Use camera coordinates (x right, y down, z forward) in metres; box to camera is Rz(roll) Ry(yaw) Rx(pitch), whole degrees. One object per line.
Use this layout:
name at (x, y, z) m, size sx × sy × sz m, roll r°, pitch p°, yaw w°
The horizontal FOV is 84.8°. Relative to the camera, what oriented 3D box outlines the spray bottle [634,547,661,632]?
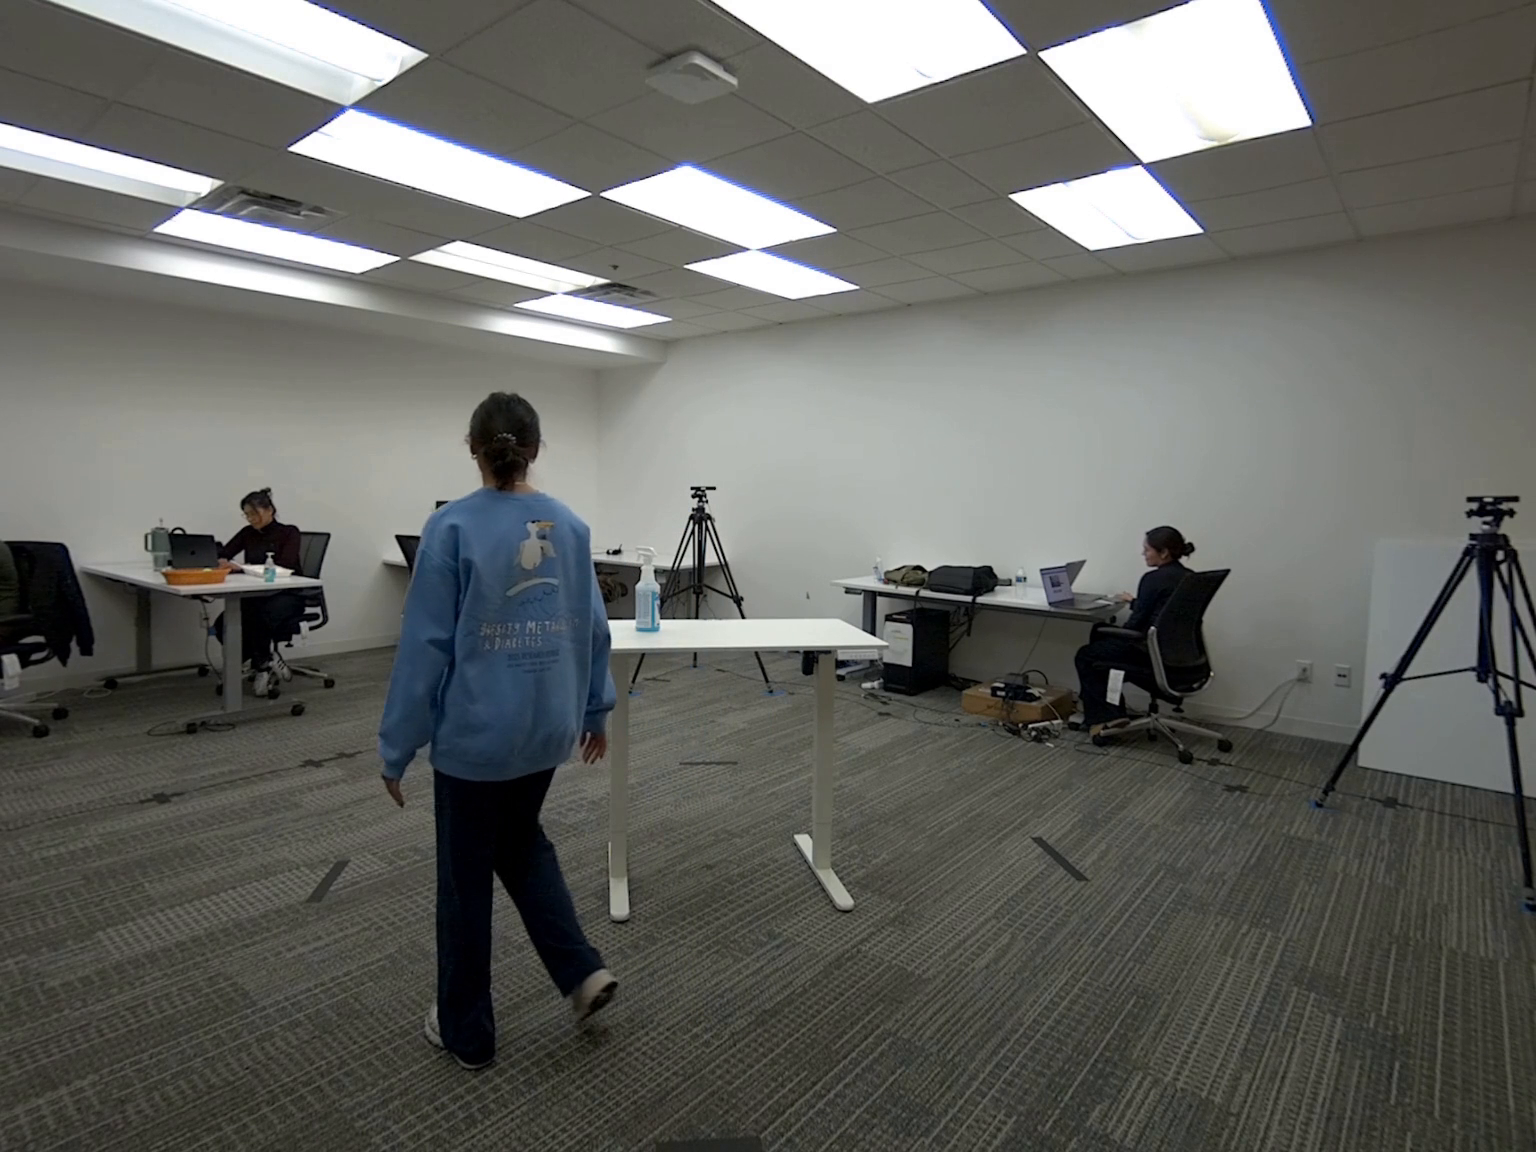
spray bottle at (-0.443, 0.045, 3.009) m, size 0.085 × 0.297 × 0.092 m, roll -4°, pitch 2°, yaw -31°
